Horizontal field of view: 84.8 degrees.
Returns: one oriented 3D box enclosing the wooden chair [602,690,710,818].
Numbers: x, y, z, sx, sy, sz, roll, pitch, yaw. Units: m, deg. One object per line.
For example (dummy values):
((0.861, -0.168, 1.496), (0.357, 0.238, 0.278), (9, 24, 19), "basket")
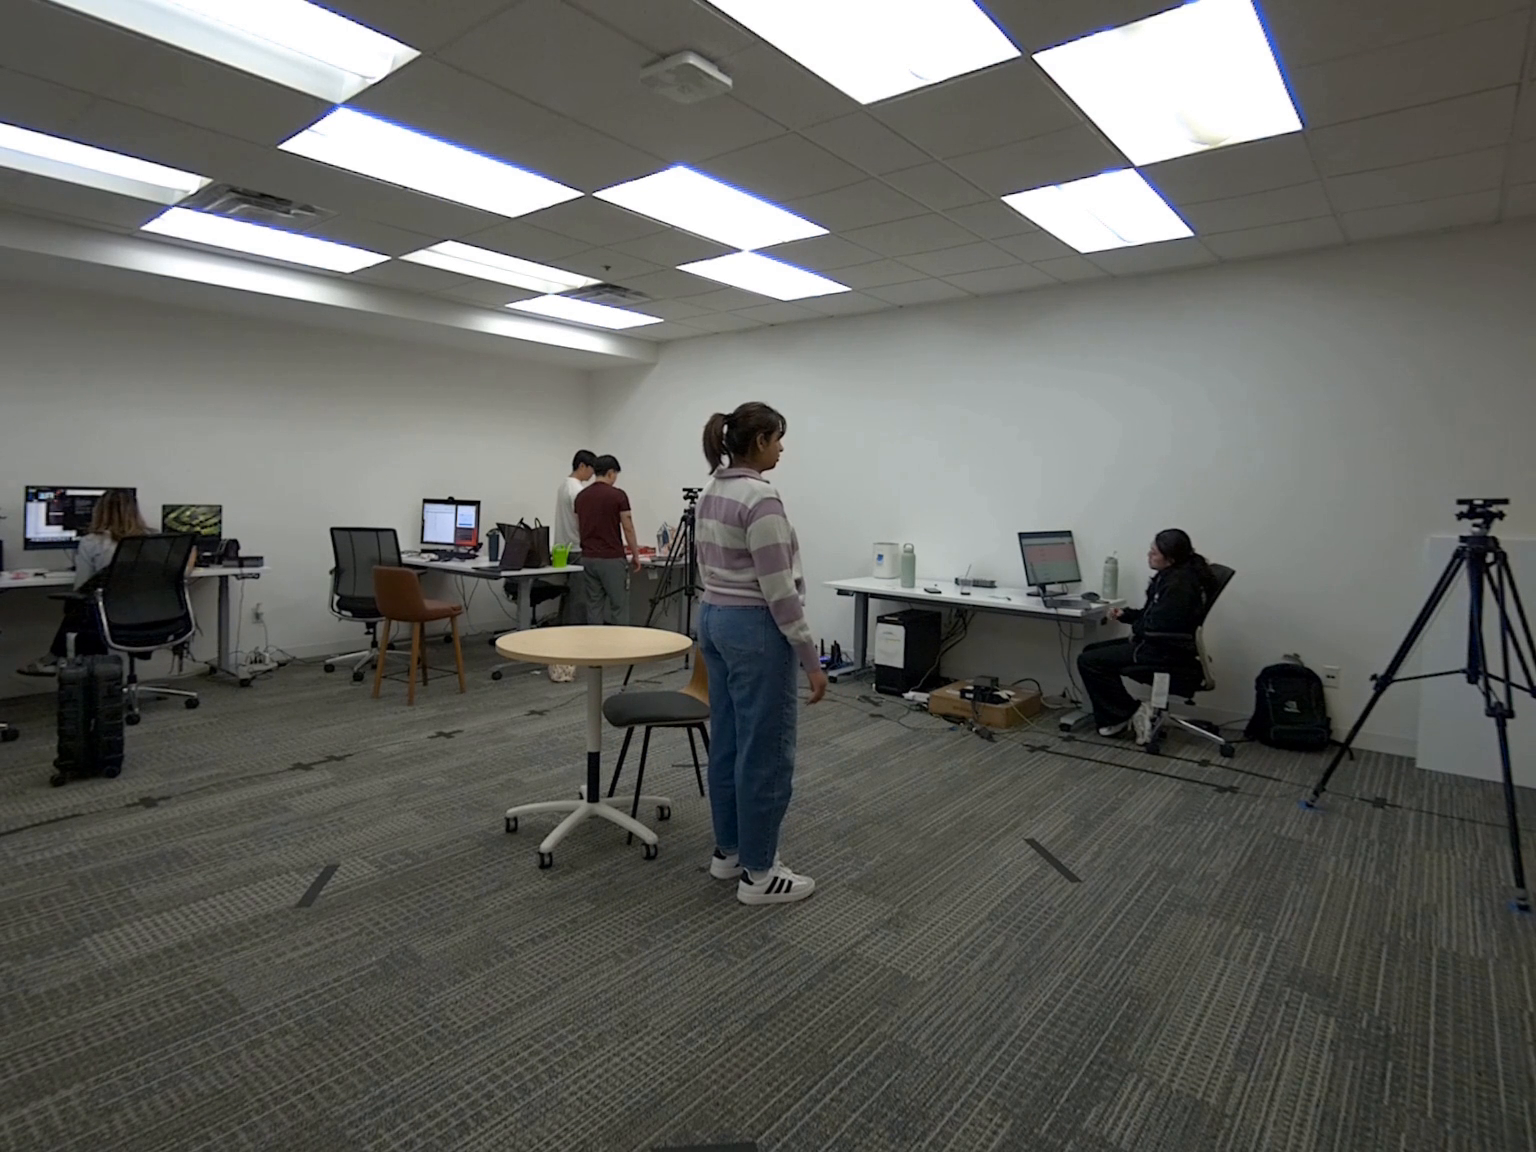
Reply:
((-0.434, 0.594, 3.557), (0.512, 0.875, 0.490), (4, 3, -21), "wooden chair")
